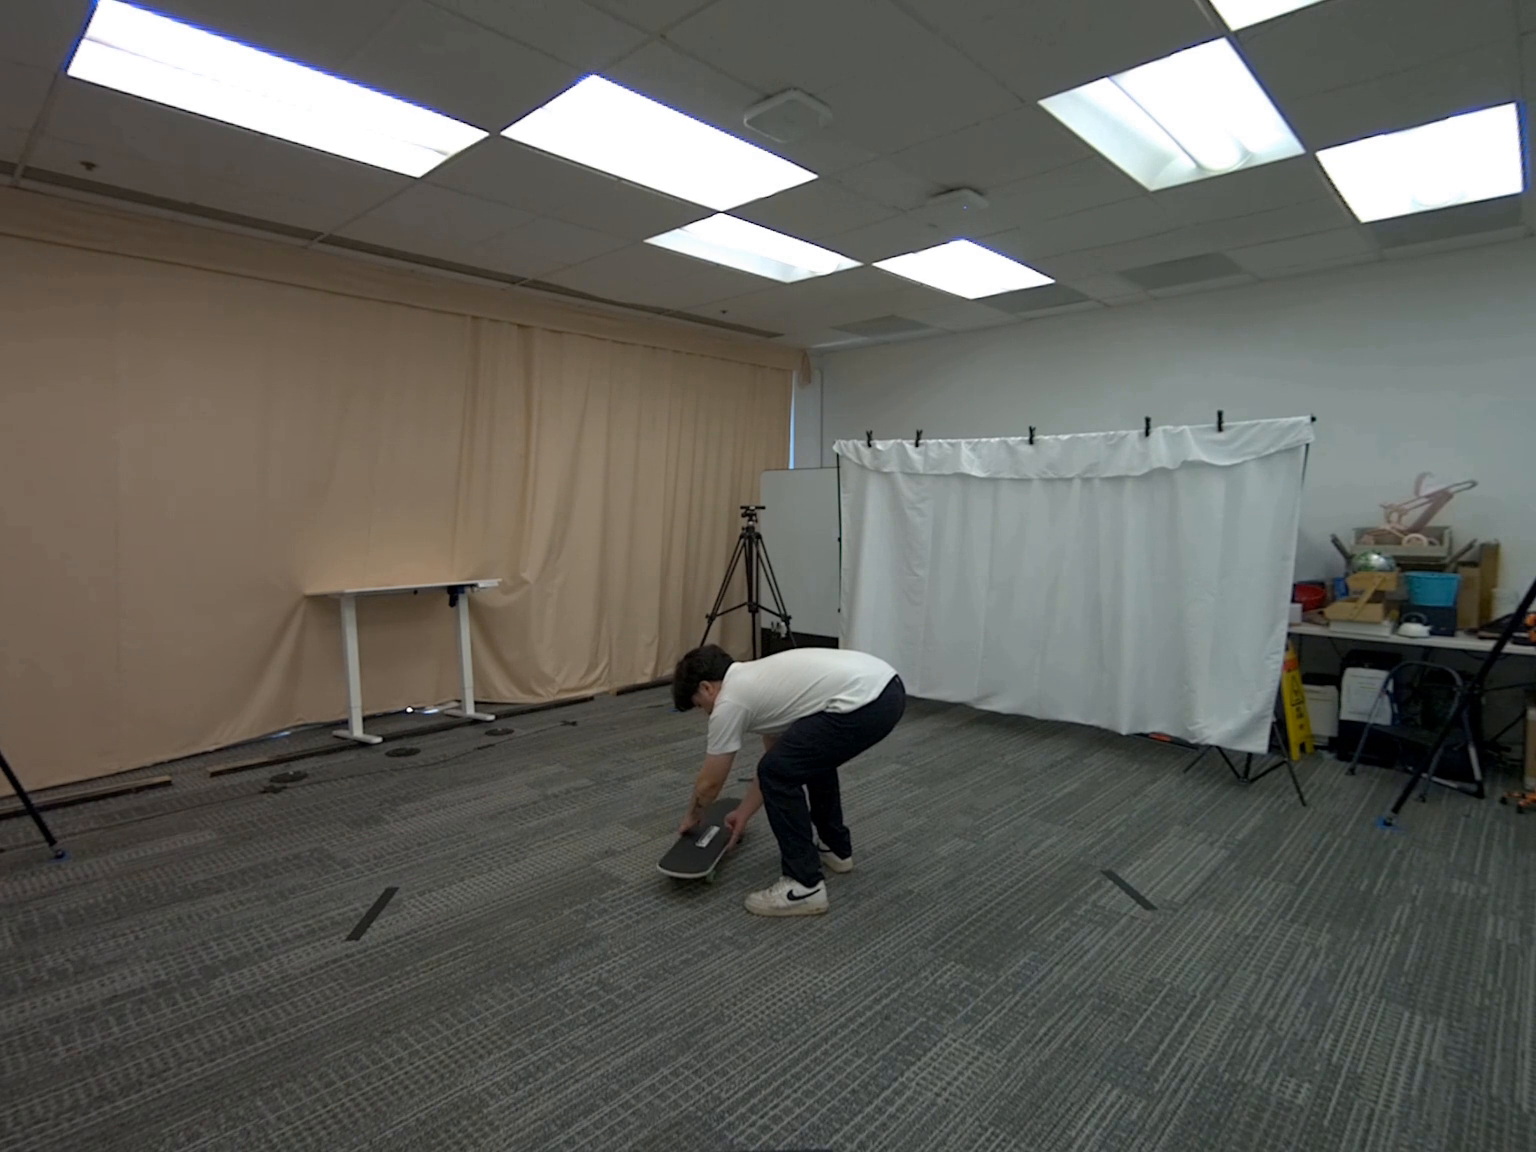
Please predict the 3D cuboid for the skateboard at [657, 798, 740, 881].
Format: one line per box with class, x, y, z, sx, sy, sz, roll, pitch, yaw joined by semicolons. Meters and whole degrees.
skateboard;-0.232;1.052;3.311;0.197;0.110;0.774;4;5;14
